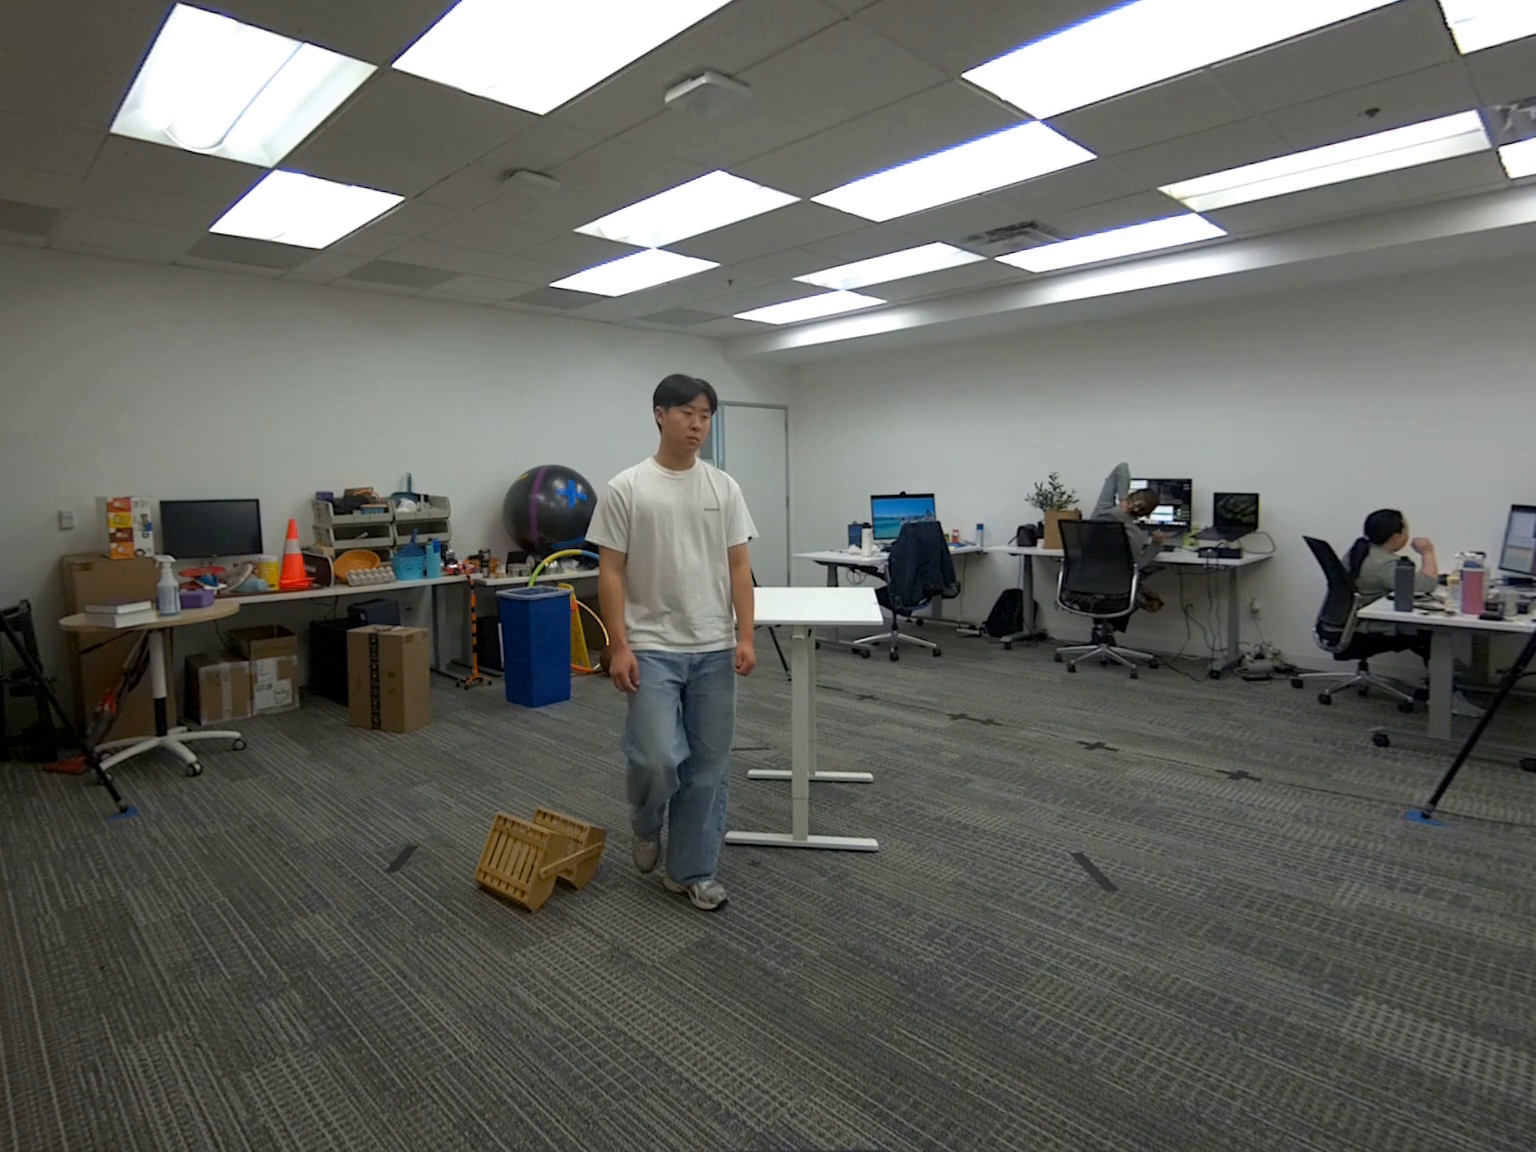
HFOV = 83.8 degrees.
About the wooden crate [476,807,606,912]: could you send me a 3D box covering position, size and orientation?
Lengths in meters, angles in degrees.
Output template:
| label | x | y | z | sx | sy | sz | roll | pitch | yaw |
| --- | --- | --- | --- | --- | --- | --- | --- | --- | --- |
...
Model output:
| label | x | y | z | sx | sy | sz | roll | pitch | yaw |
| --- | --- | --- | --- | --- | --- | --- | --- | --- | --- |
| wooden crate | -0.789 | 0.984 | 2.989 | 0.334 | 0.305 | 0.263 | 4 | -21 | 39 |
